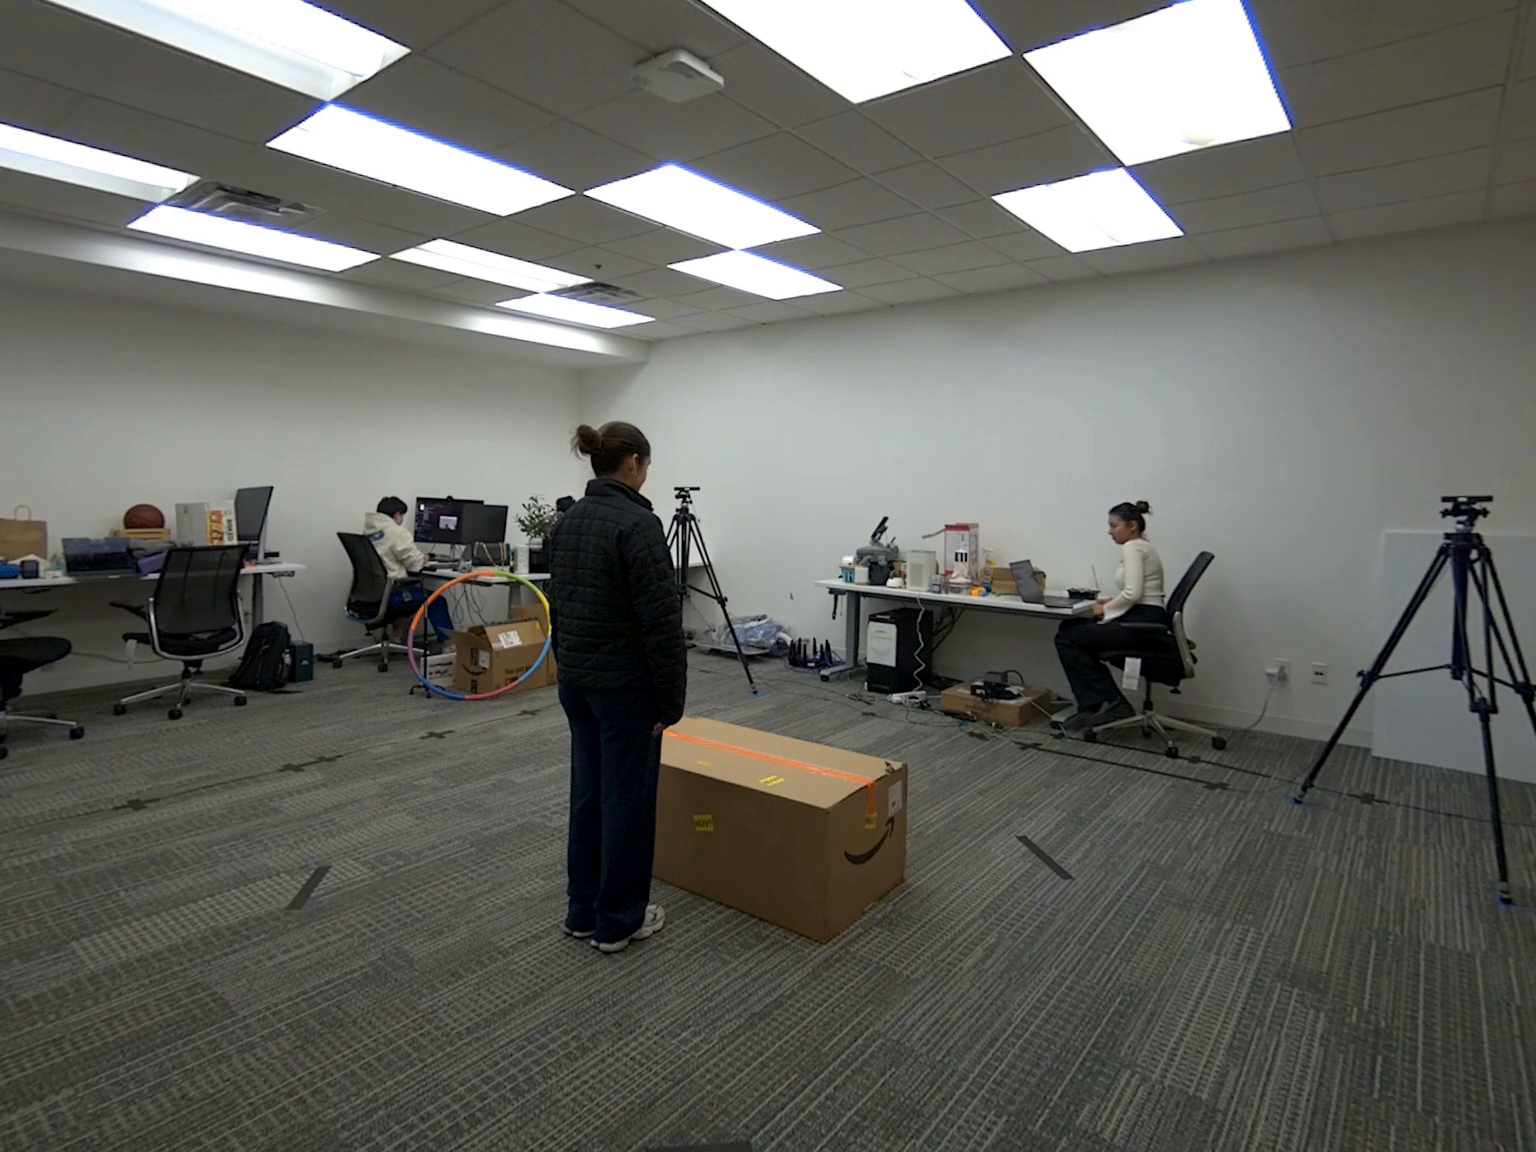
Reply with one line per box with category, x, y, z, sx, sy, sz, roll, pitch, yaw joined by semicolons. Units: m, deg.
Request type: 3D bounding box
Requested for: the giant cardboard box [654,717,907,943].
giant cardboard box;-0.065;0.851;3.132;1.059;0.424;0.561;5;6;37
